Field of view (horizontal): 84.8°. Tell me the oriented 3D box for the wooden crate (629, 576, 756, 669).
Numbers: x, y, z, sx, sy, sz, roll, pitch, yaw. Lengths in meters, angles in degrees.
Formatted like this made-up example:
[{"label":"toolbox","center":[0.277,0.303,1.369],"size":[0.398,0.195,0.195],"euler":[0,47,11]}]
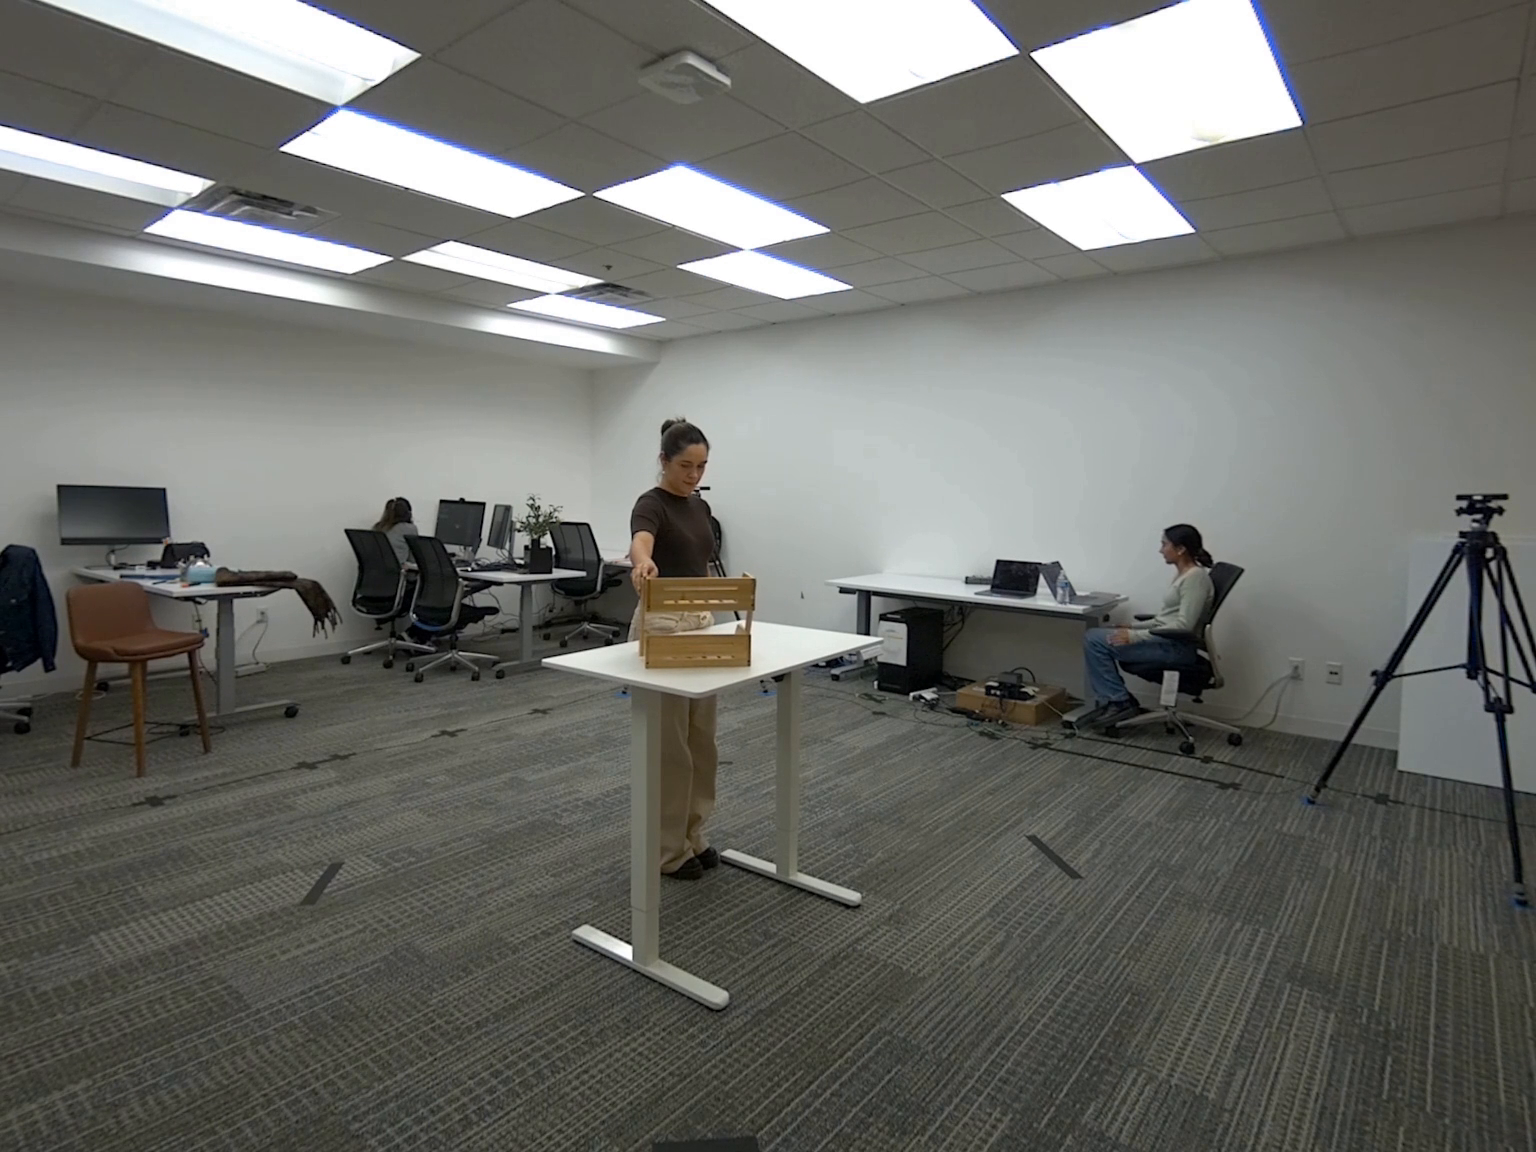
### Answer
[{"label":"wooden crate","center":[-0.223,0.117,2.486],"size":[0.321,0.271,0.307],"euler":[-2,7,-9]}]
